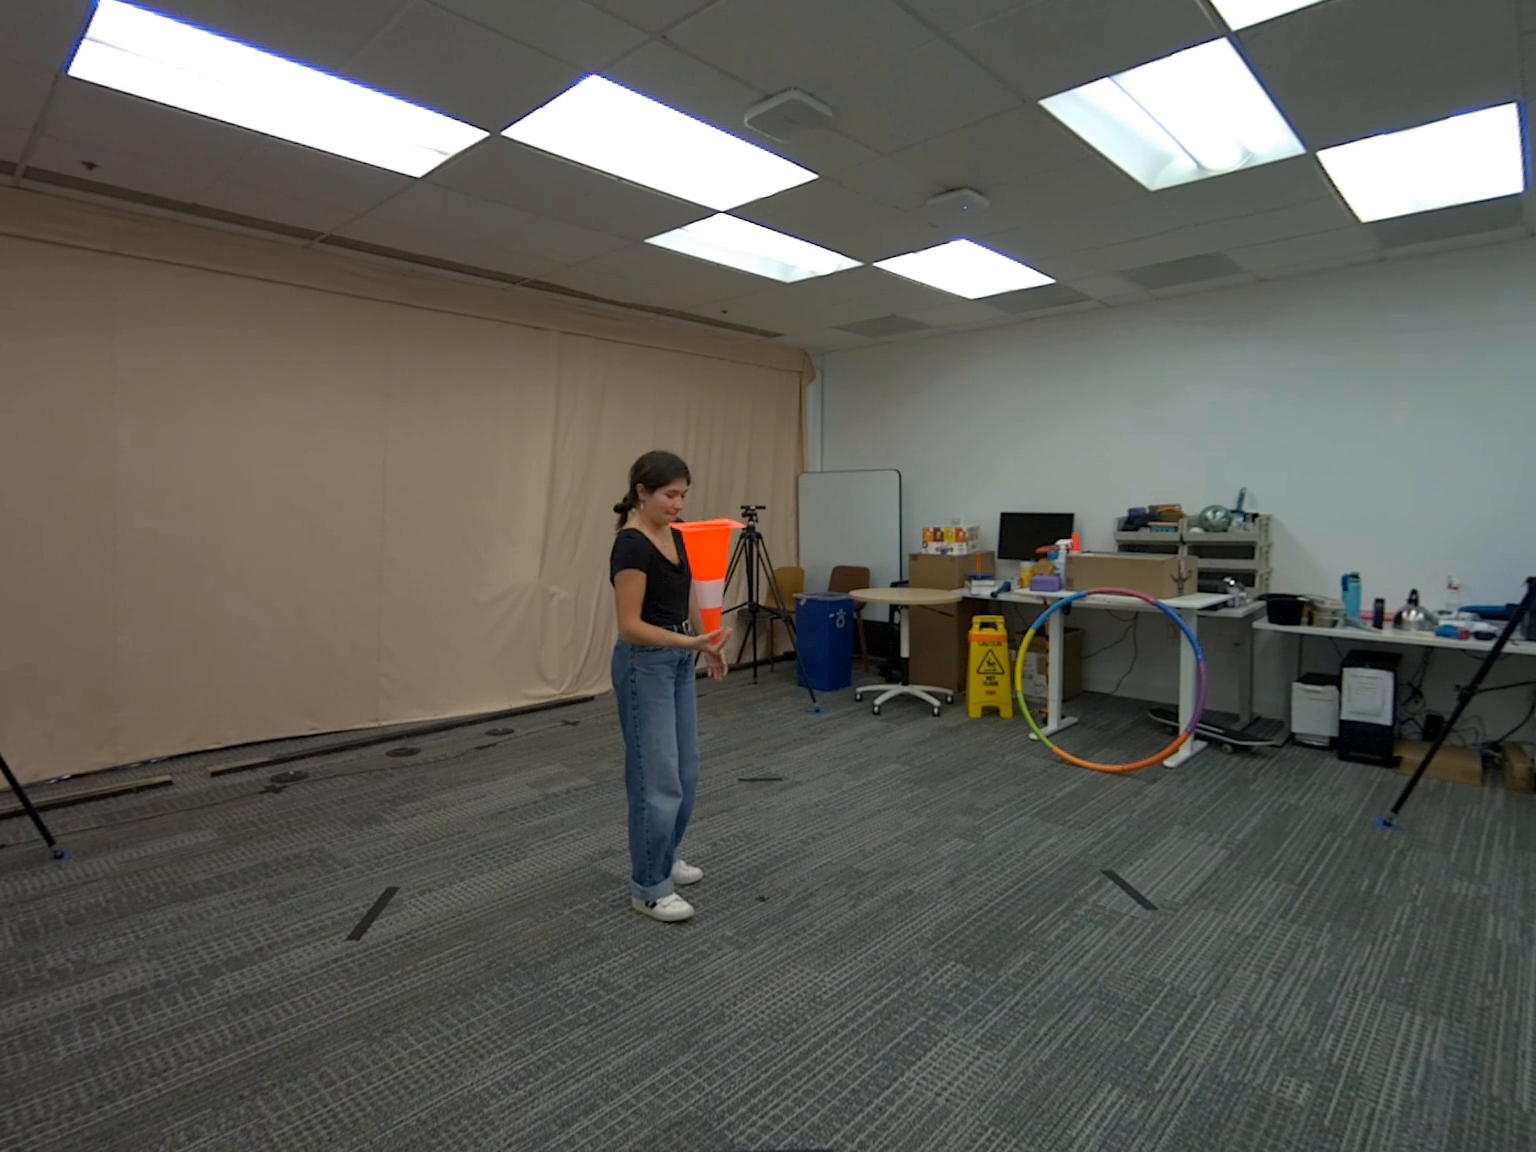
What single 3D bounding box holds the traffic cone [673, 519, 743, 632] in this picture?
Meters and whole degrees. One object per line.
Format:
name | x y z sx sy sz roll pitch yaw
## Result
traffic cone | -0.179 0.027 2.622 0.202 0.381 0.207 -6 9 -14
